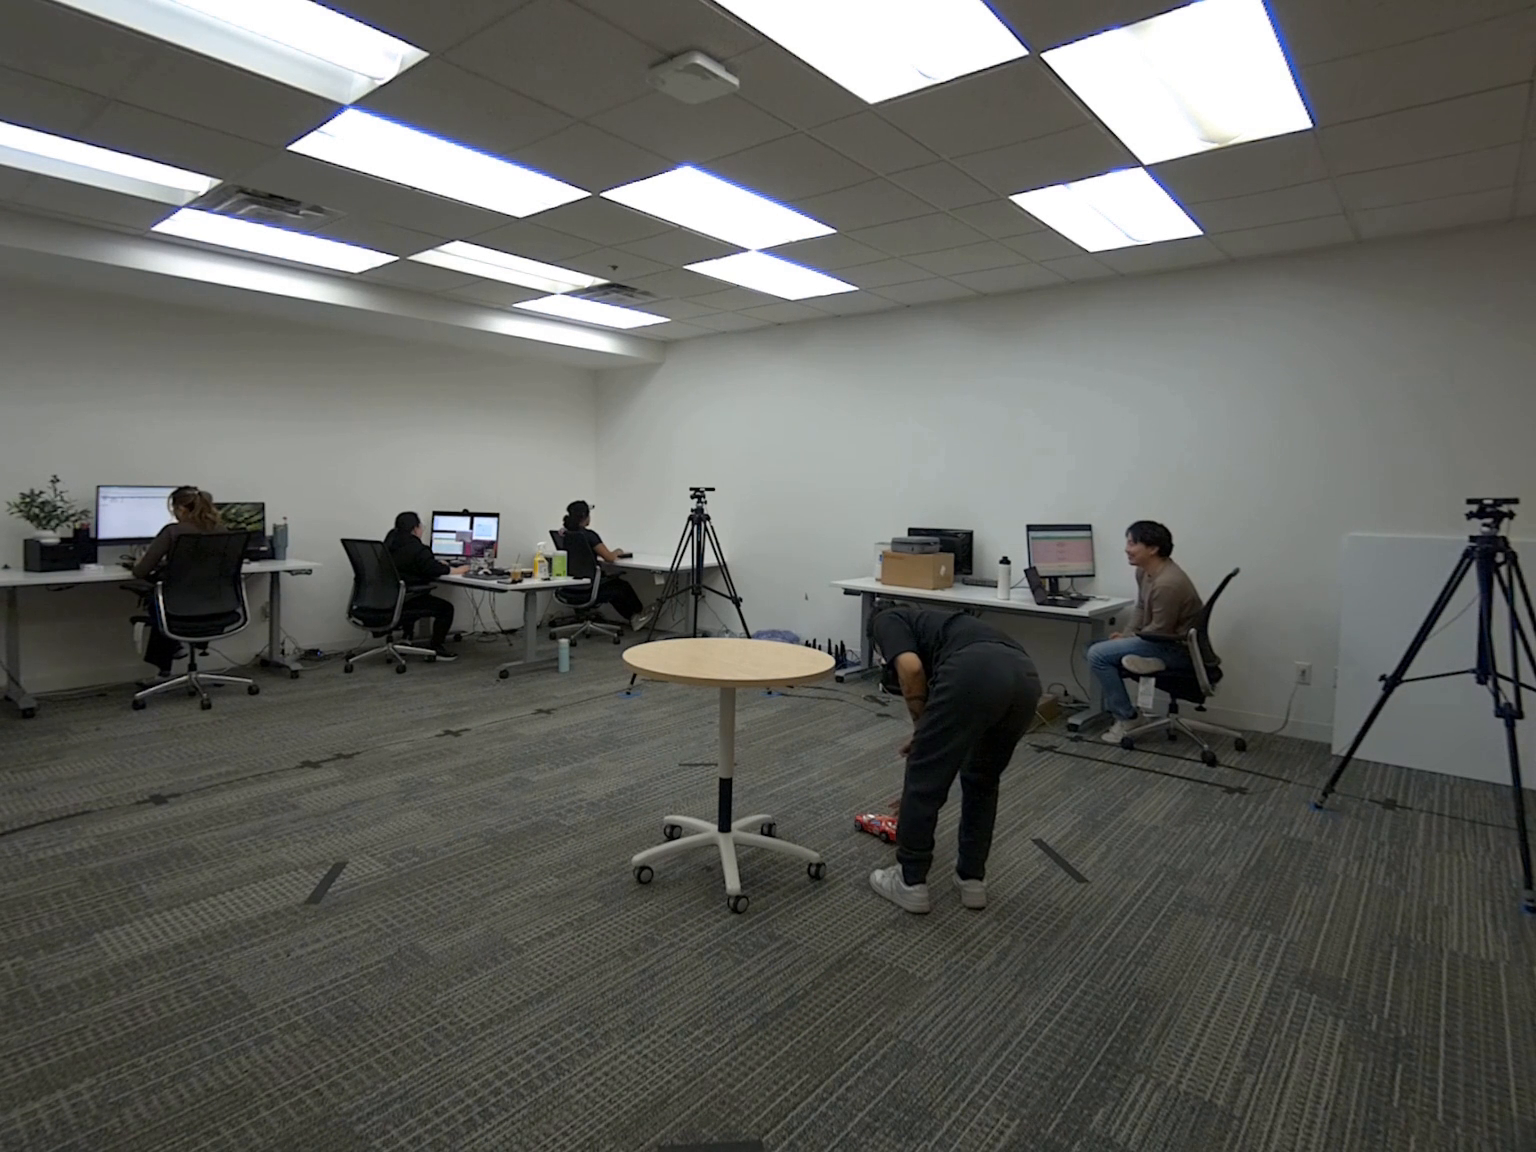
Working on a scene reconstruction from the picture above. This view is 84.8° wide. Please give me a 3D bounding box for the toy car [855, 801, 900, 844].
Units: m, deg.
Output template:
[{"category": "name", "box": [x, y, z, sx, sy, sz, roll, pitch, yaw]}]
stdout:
[{"category": "toy car", "box": [0.465, 1.017, 3.454, 0.126, 0.084, 0.261, -1, -5, -38]}]
